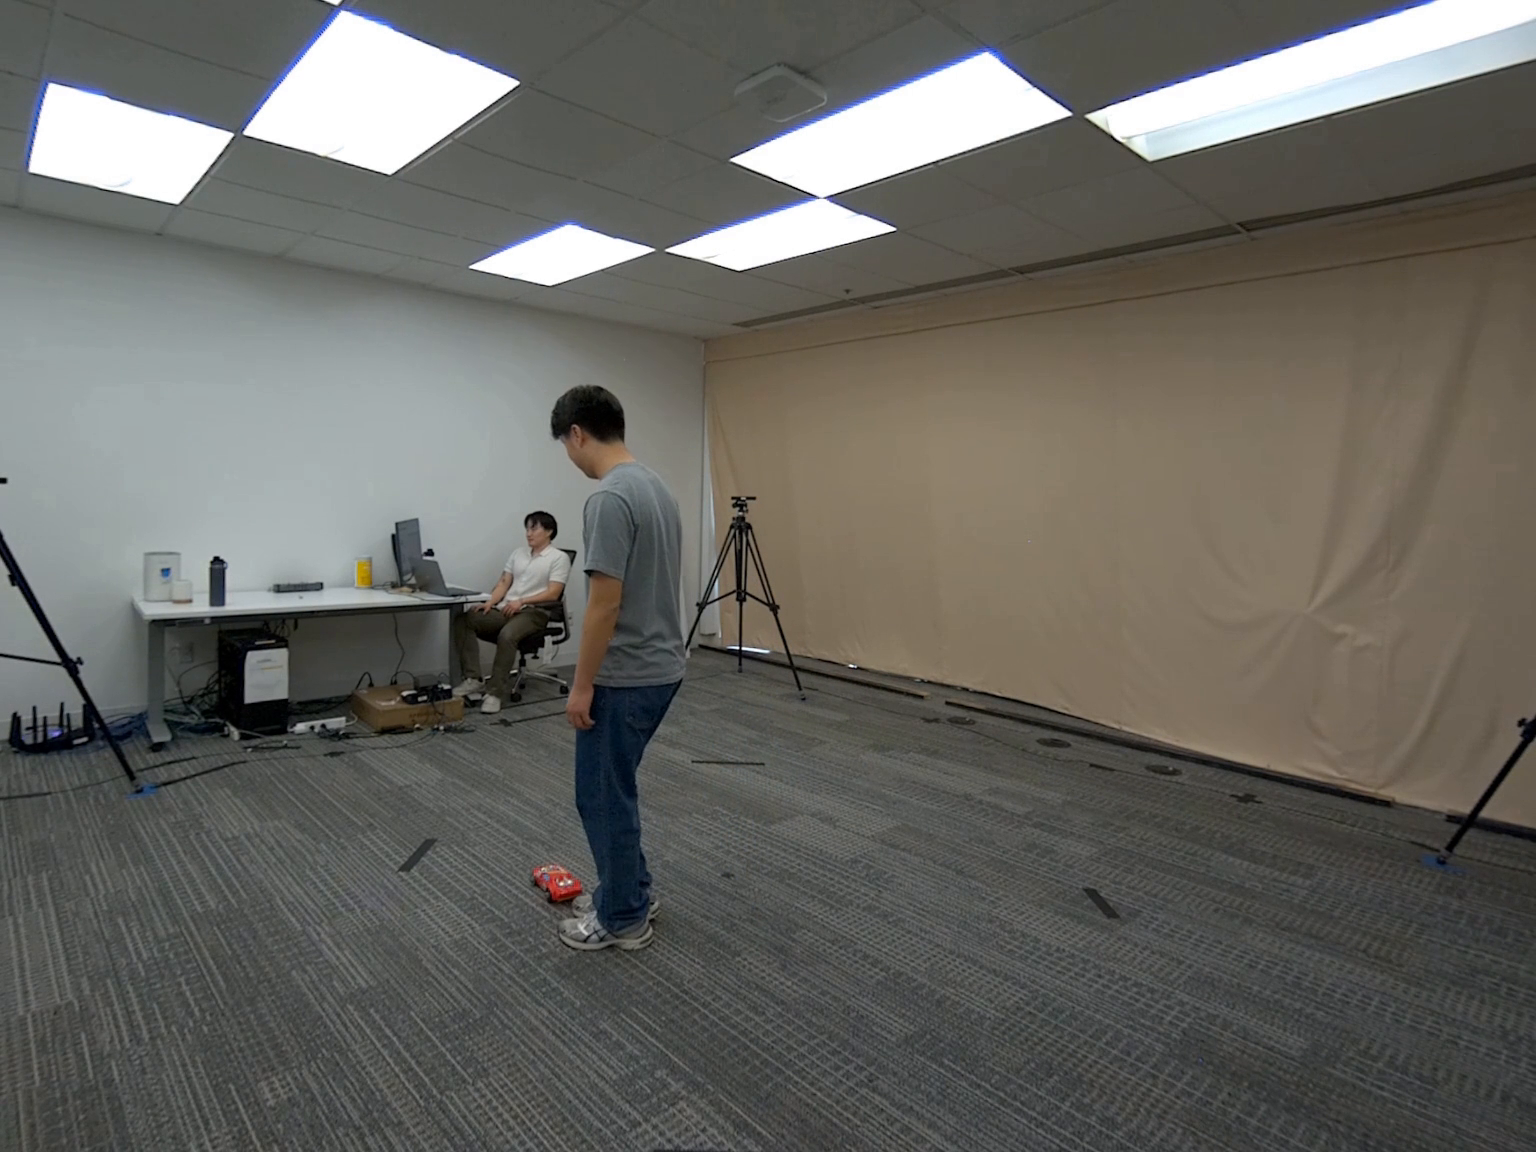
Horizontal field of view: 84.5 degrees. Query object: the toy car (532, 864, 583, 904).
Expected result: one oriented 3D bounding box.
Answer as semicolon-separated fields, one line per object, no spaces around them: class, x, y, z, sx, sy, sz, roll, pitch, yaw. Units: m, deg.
toy car;-0.744;1.075;2.936;0.127;0.083;0.259;-2;-4;-35
